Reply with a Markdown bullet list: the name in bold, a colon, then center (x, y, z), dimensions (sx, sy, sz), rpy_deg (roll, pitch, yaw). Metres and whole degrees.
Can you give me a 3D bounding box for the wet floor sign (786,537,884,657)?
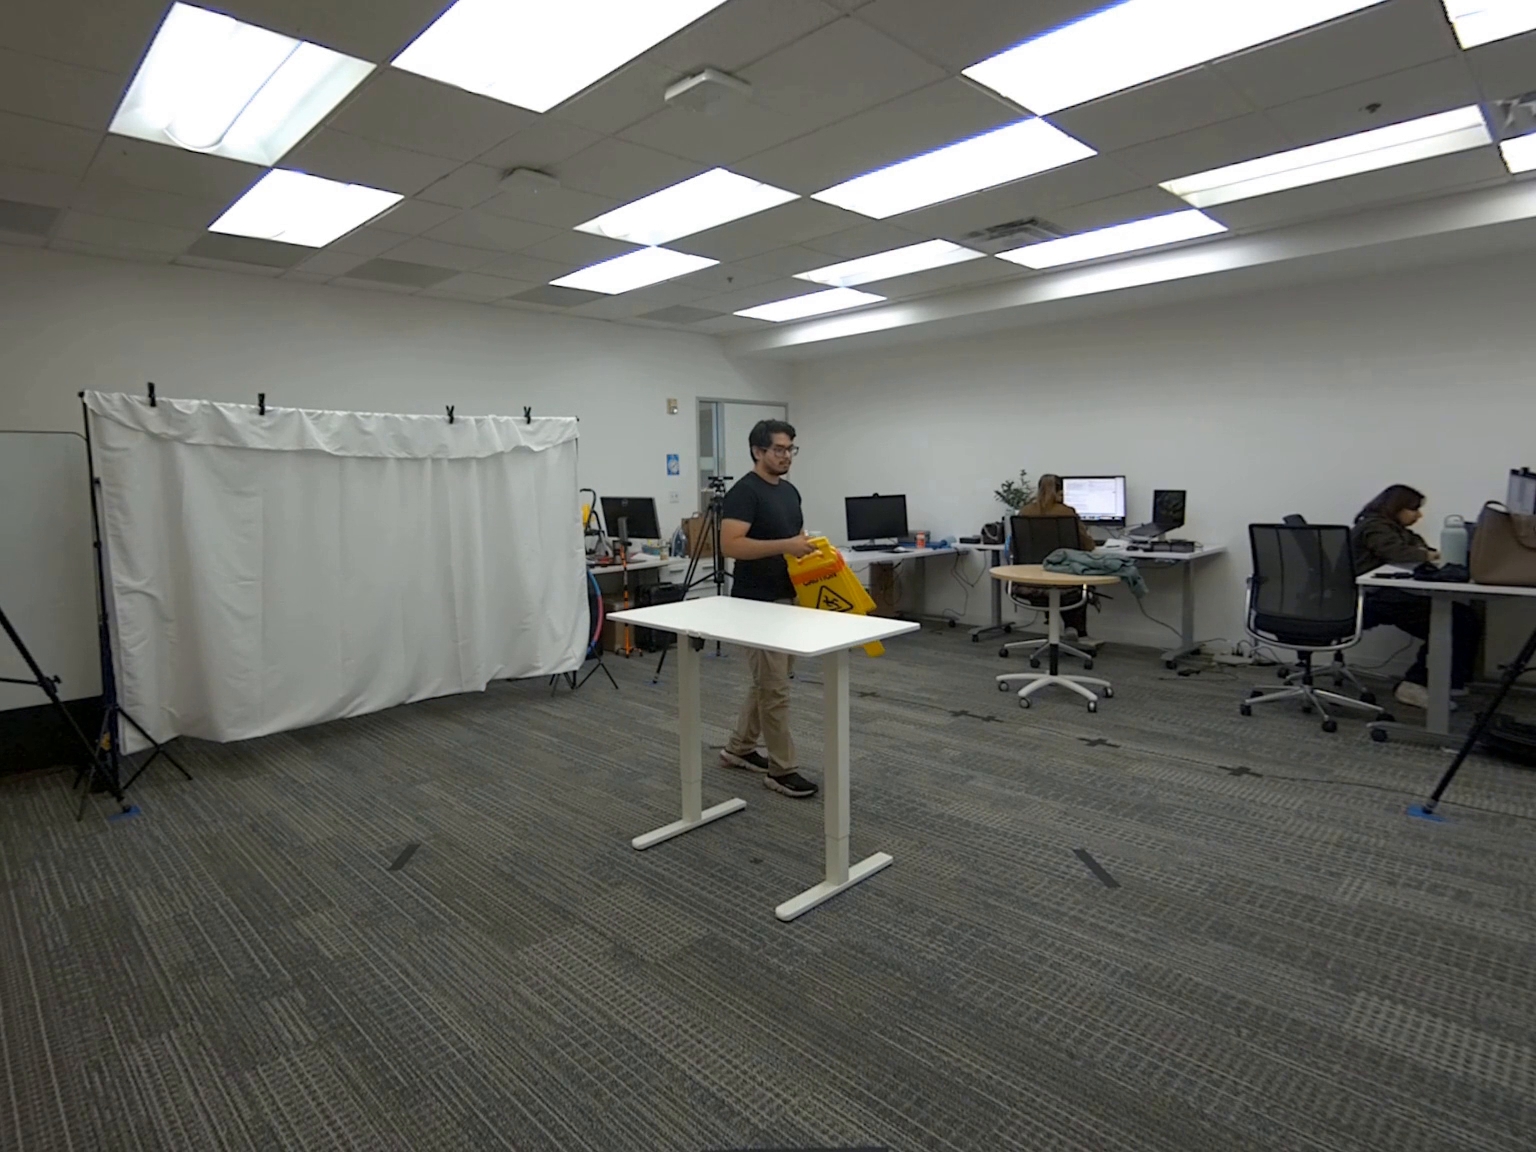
- **wet floor sign**: center (0.269, 0.079, 3.819), dimensions (0.285, 0.622, 0.298), rpy_deg (-19, 39, 15)
